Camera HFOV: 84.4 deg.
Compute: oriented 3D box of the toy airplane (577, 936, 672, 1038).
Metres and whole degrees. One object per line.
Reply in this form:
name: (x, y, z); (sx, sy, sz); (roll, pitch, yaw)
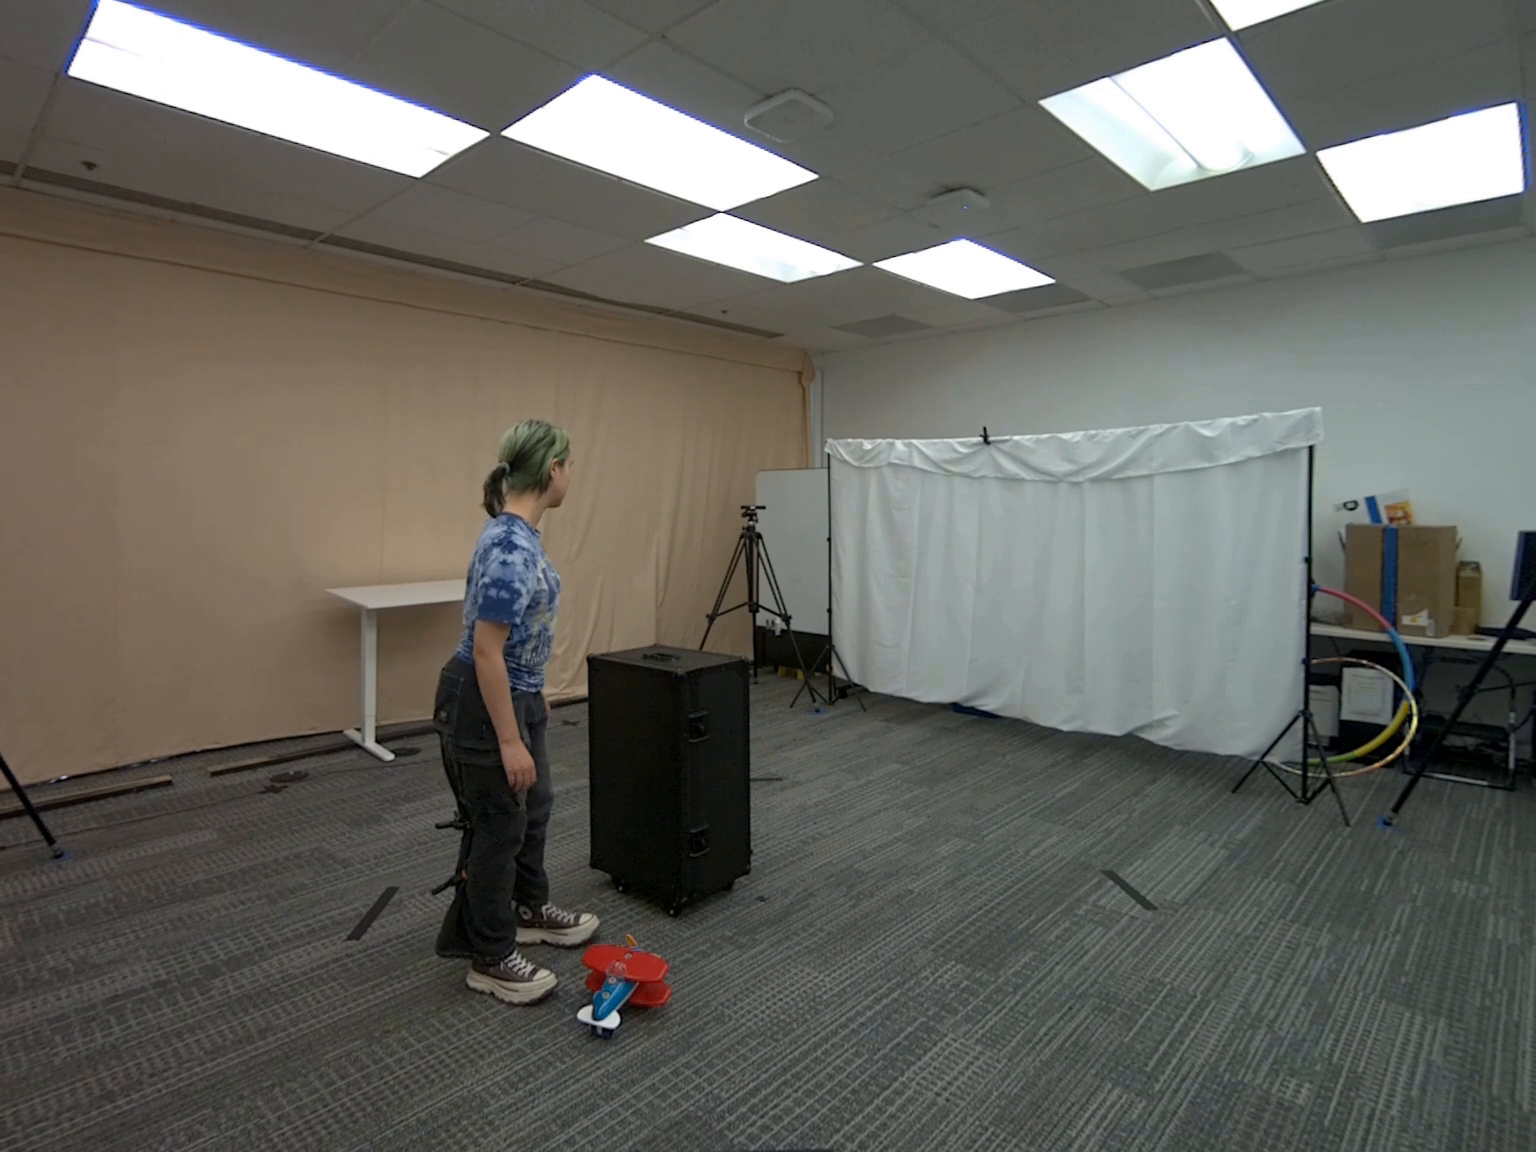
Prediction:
toy airplane: (-0.383, 1.119, 2.288); (0.249, 0.156, 0.261); (0, 3, -7)
